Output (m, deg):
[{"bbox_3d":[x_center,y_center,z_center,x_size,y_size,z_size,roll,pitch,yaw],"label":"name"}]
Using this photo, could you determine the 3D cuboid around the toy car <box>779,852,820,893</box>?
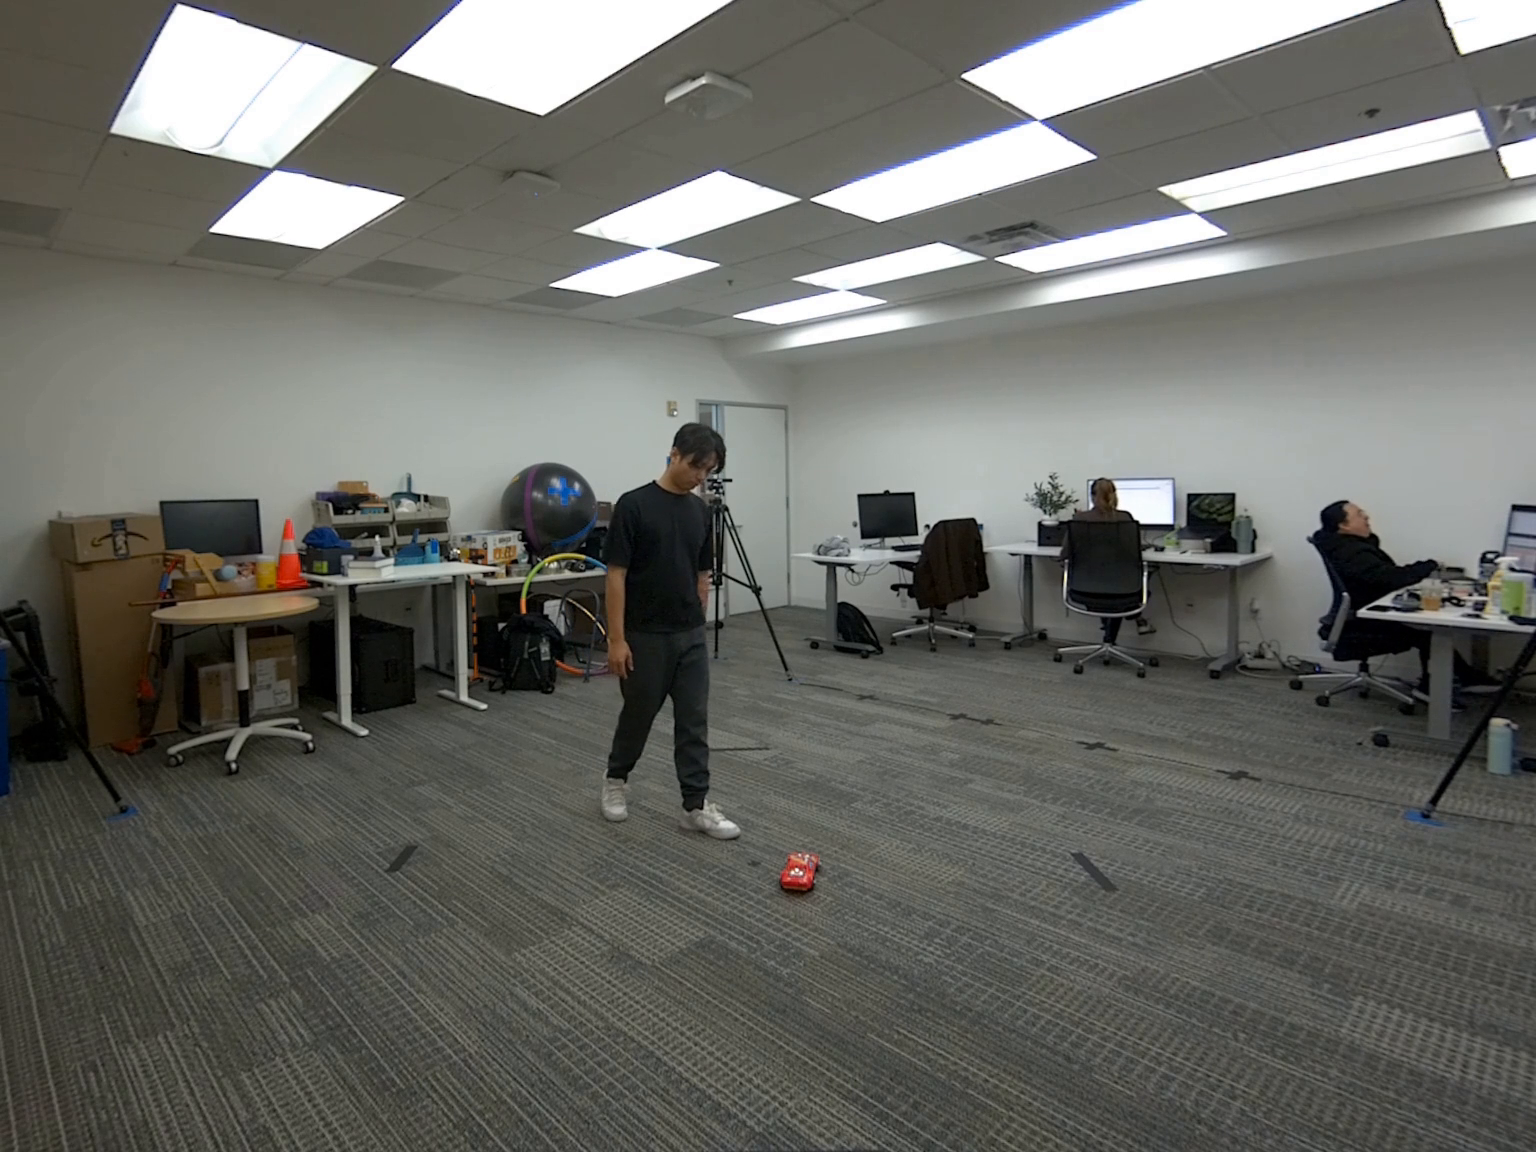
[{"bbox_3d":[0.112,1.027,2.962,0.132,0.083,0.250,1,-4,13],"label":"toy car"}]
